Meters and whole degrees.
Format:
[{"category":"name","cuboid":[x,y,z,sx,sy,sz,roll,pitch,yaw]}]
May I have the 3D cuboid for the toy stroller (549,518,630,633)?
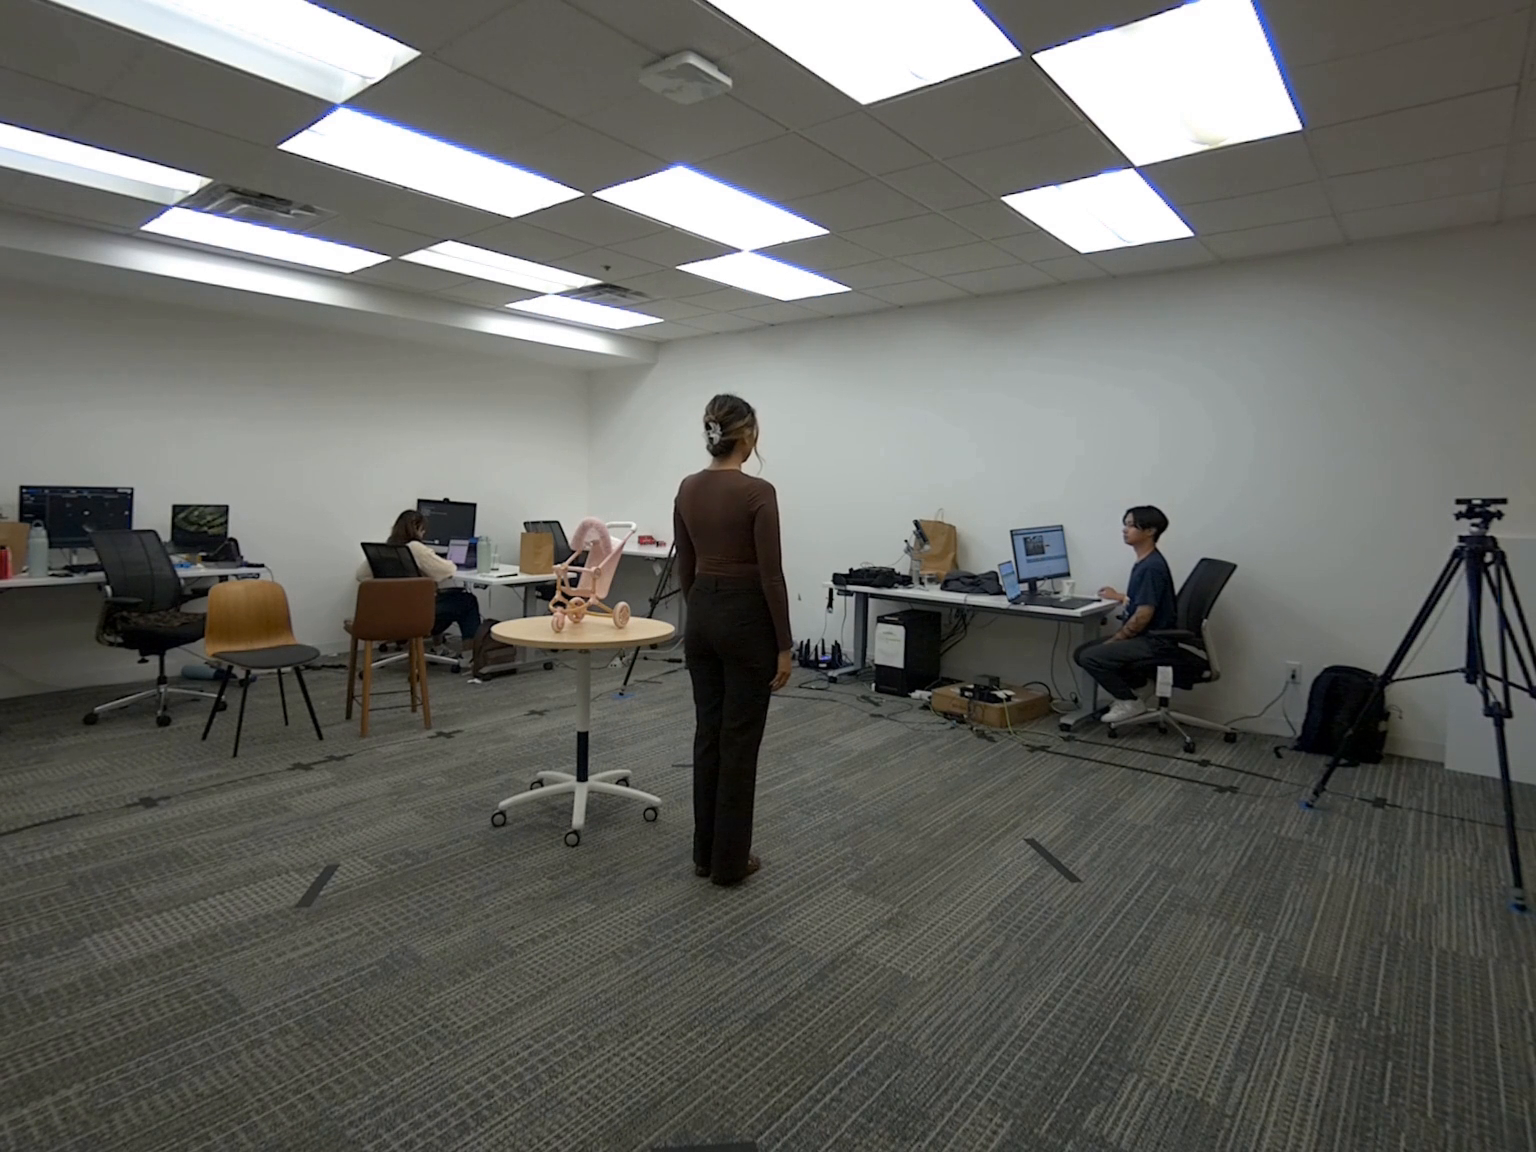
[{"category":"toy stroller","cuboid":[-0.777,-0.011,3.610,0.290,0.539,0.328,3,-10,34]}]
